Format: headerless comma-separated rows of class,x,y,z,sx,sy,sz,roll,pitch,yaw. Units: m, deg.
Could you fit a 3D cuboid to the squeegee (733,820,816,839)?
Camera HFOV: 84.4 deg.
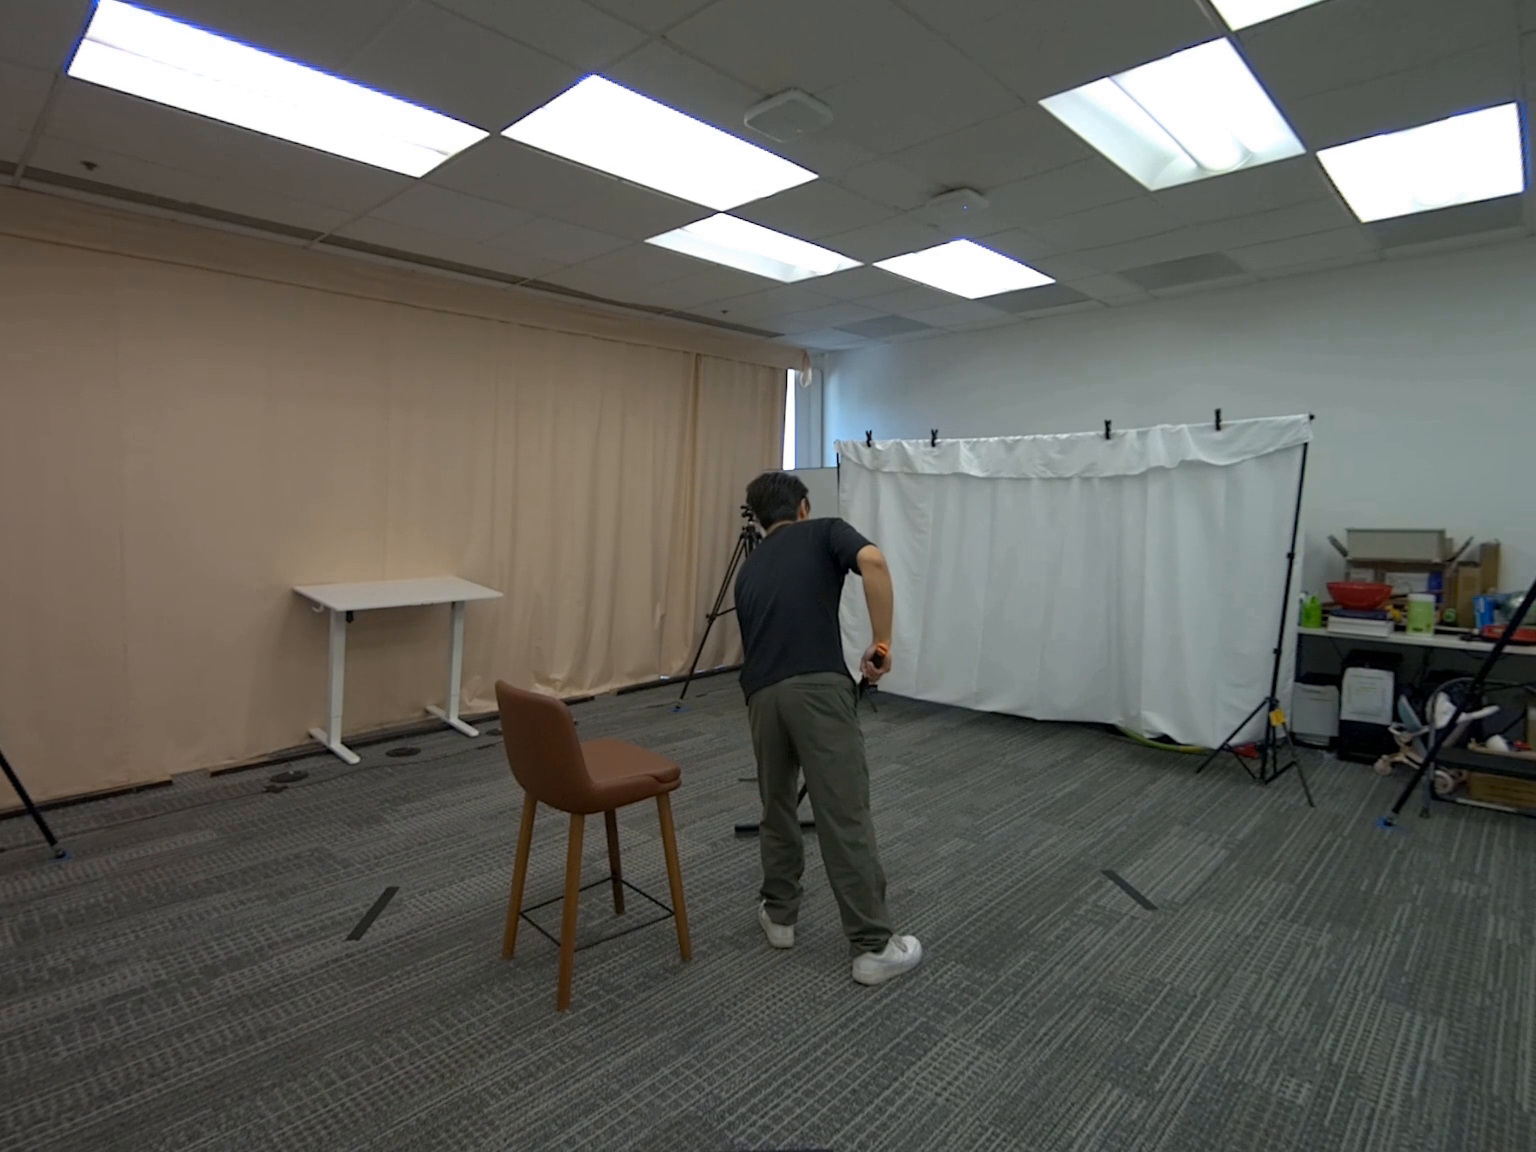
squeegee,0.187,0.634,2.988,0.432,0.054,1.524,1,-35,-12
